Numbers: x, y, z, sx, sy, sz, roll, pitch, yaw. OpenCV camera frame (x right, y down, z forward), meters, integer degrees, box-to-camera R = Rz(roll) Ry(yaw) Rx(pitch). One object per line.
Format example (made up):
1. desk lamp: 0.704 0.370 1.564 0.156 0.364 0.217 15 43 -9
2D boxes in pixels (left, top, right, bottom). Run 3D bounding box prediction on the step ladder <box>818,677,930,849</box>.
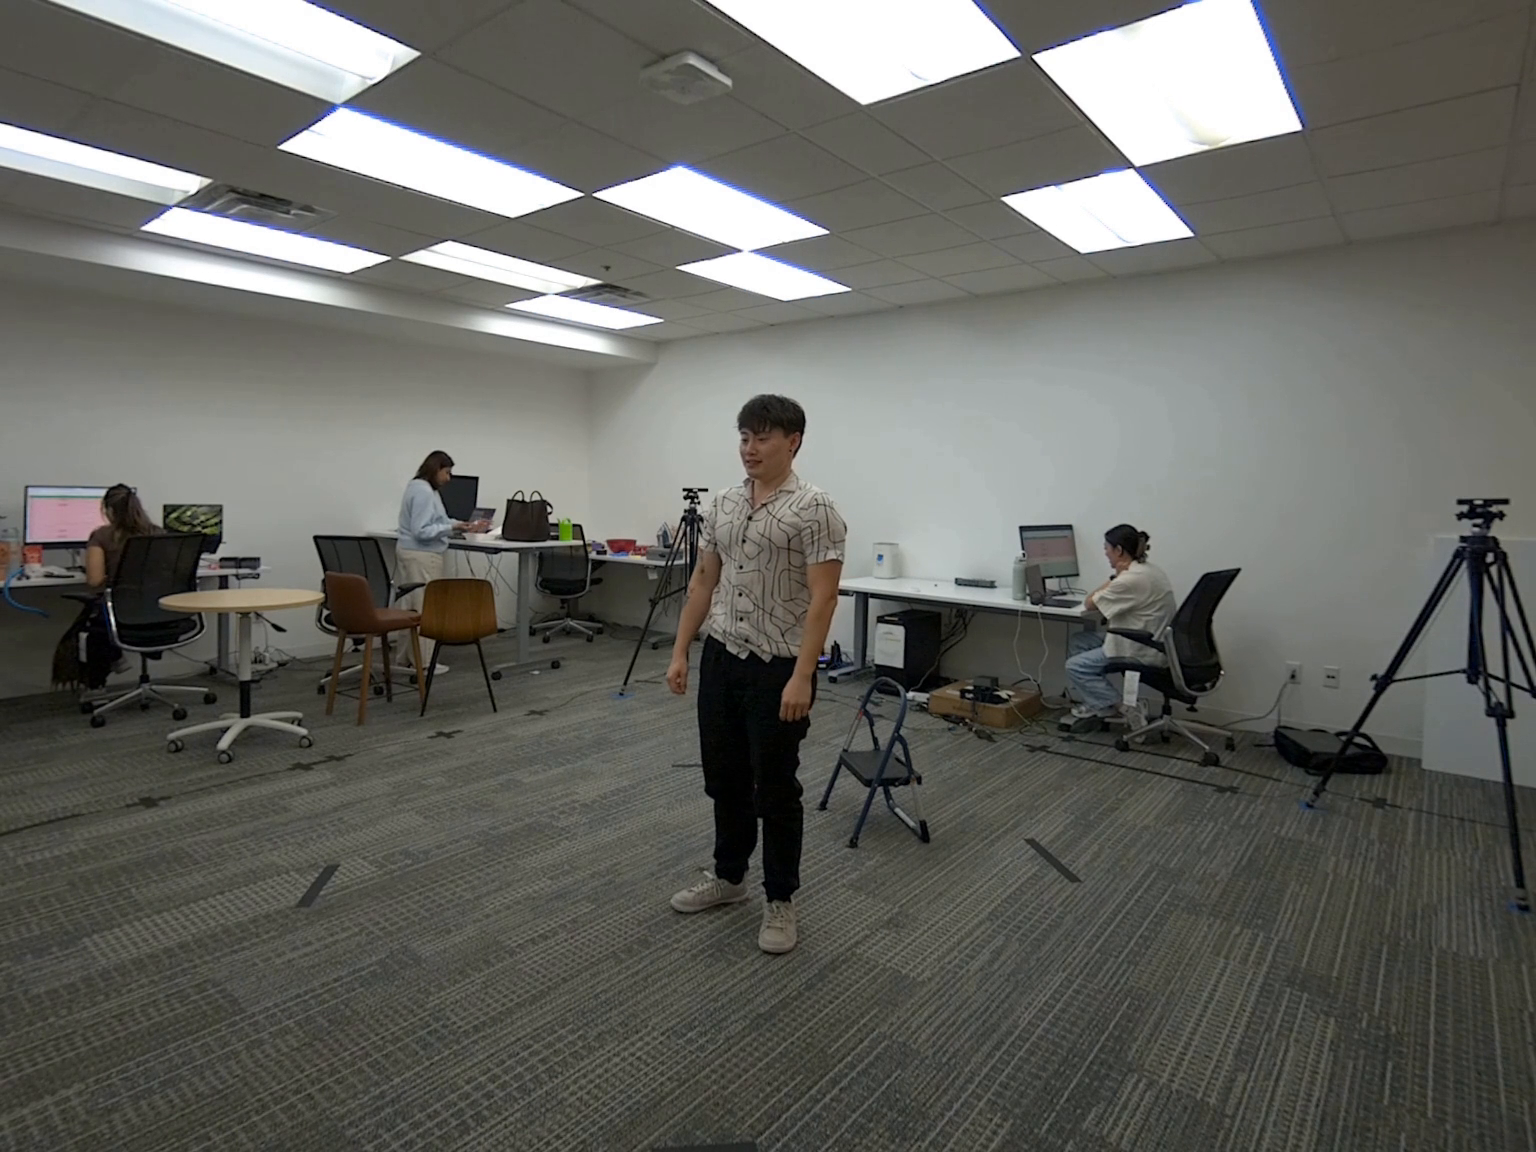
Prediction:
1. step ladder: 0.438 0.740 3.550 0.344 0.604 0.438 1 3 -14
